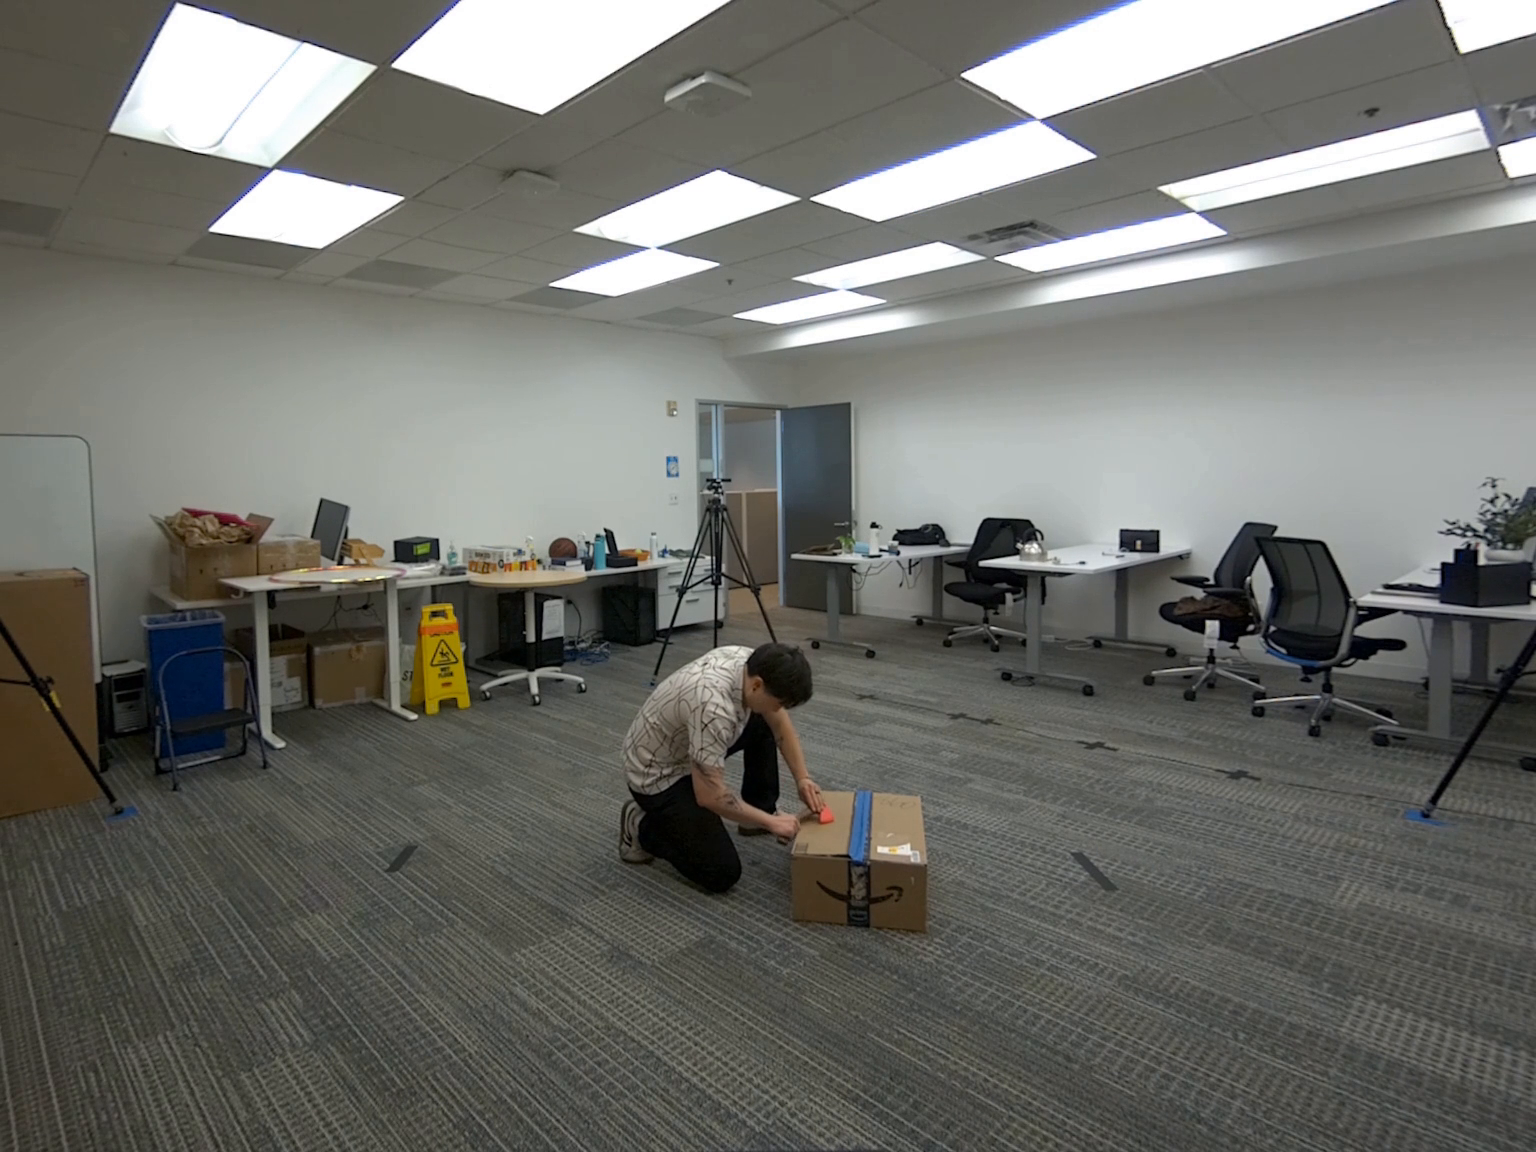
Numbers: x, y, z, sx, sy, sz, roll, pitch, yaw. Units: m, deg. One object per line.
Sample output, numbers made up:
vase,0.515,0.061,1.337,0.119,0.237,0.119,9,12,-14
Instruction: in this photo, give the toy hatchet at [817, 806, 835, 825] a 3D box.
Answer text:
toy hatchet,0.148,0.830,2.903,0.133,0.029,0.268,14,18,15
